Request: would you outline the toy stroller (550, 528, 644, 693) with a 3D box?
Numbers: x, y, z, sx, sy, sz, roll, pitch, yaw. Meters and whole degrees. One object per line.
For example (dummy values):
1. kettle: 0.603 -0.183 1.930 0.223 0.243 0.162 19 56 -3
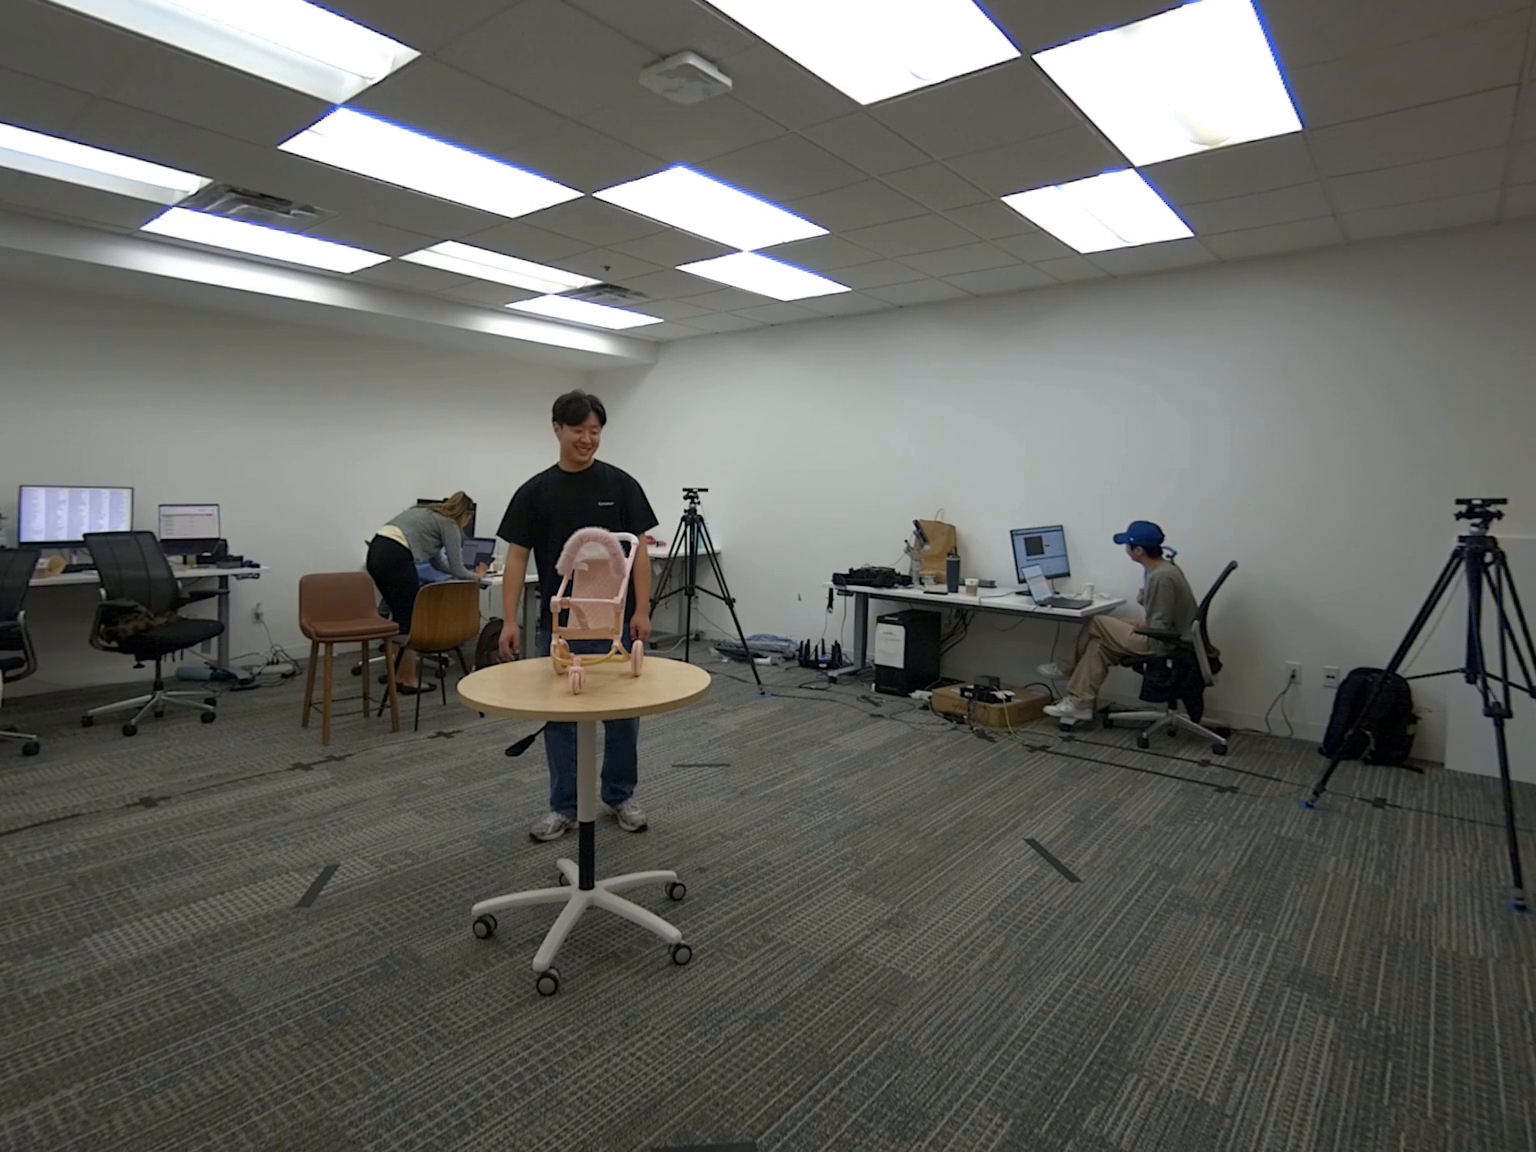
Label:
1. toy stroller: -0.551 0.095 2.601 0.284 0.540 0.335 0 -11 7
